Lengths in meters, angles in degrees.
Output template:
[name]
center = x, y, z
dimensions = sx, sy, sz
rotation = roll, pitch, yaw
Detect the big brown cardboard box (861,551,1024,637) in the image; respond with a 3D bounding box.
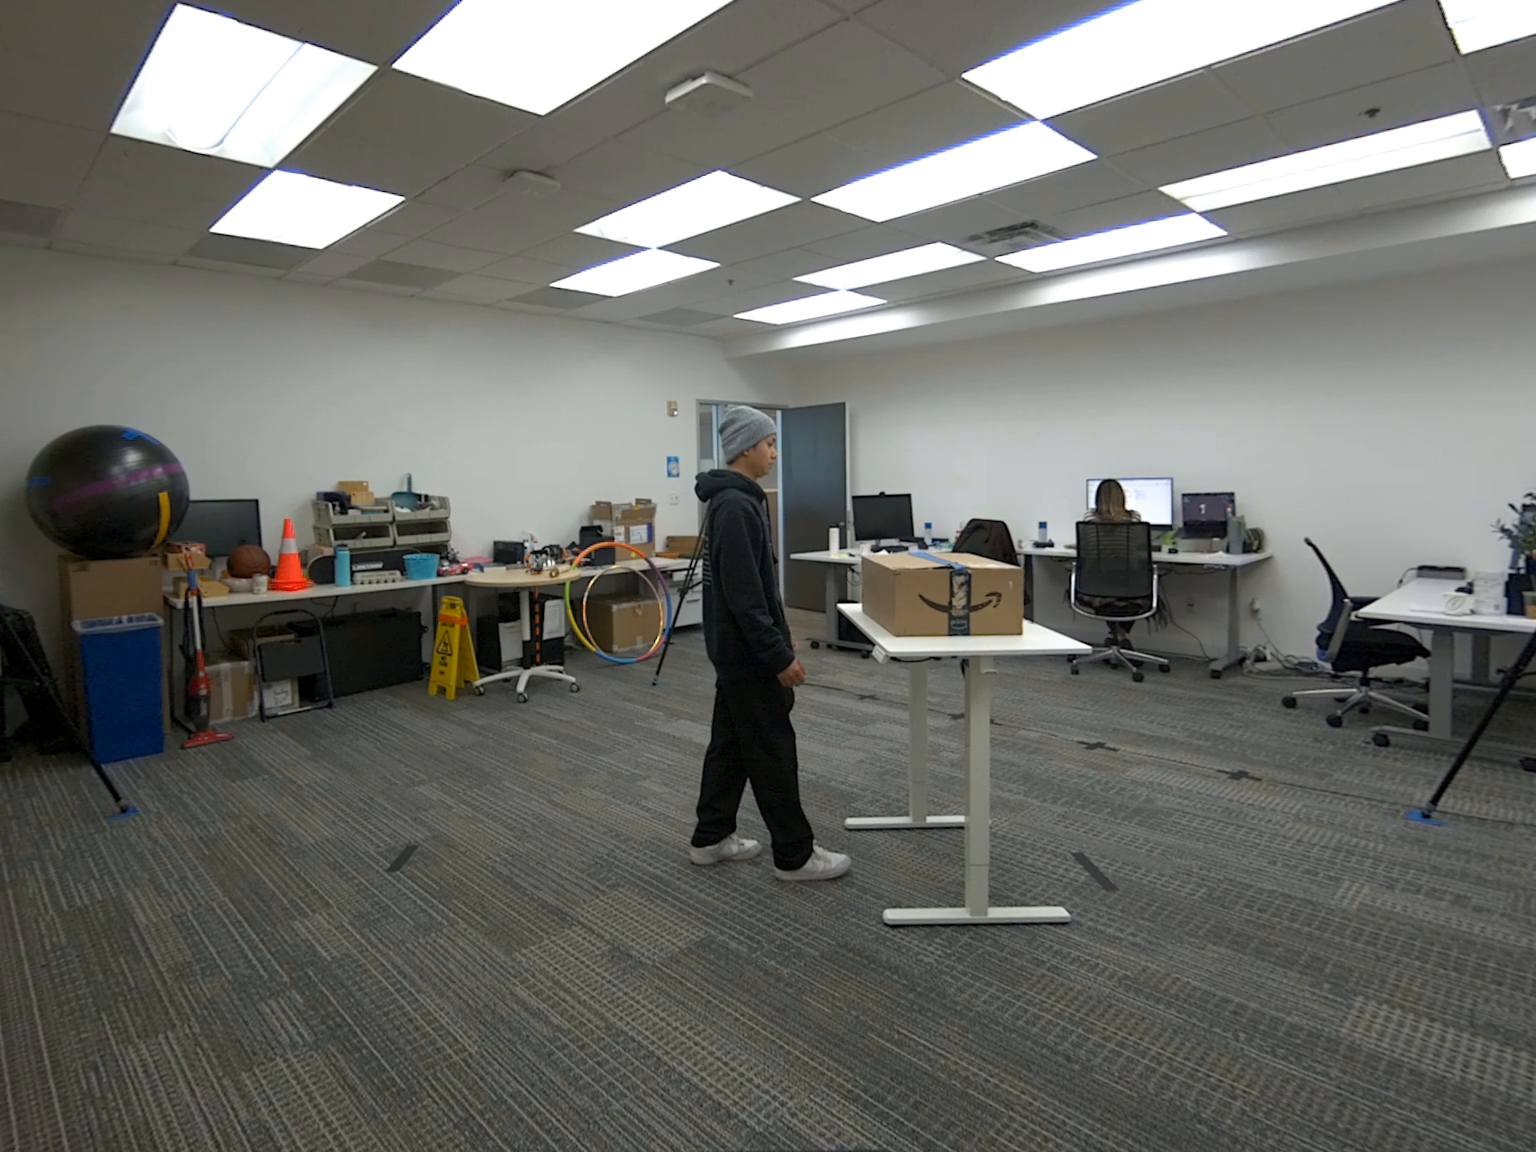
[big brown cardboard box]
center = 0.584, 0.054, 2.989
dimensions = 0.417, 0.232, 0.592
rotation = -1, 5, -3
